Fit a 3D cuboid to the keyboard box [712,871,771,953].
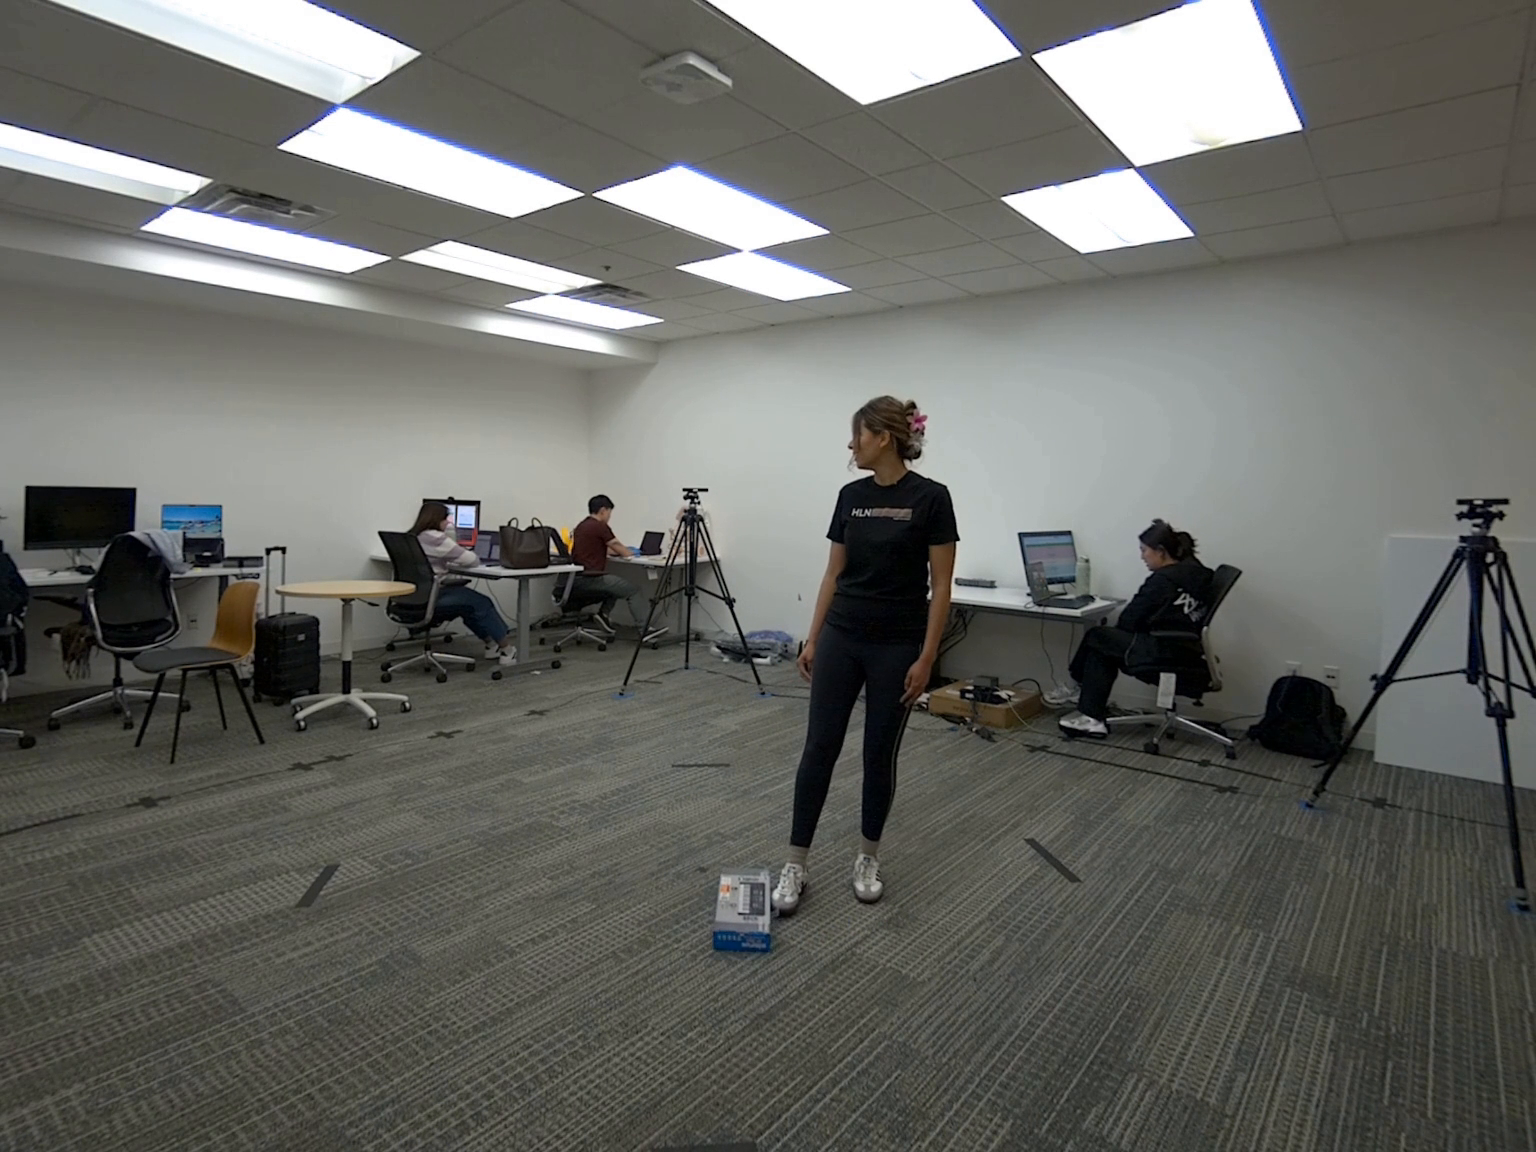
[{"bbox_3d":[-0.085,1.074,2.774,0.176,0.059,0.438,0,6,0],"label":"keyboard box"}]
